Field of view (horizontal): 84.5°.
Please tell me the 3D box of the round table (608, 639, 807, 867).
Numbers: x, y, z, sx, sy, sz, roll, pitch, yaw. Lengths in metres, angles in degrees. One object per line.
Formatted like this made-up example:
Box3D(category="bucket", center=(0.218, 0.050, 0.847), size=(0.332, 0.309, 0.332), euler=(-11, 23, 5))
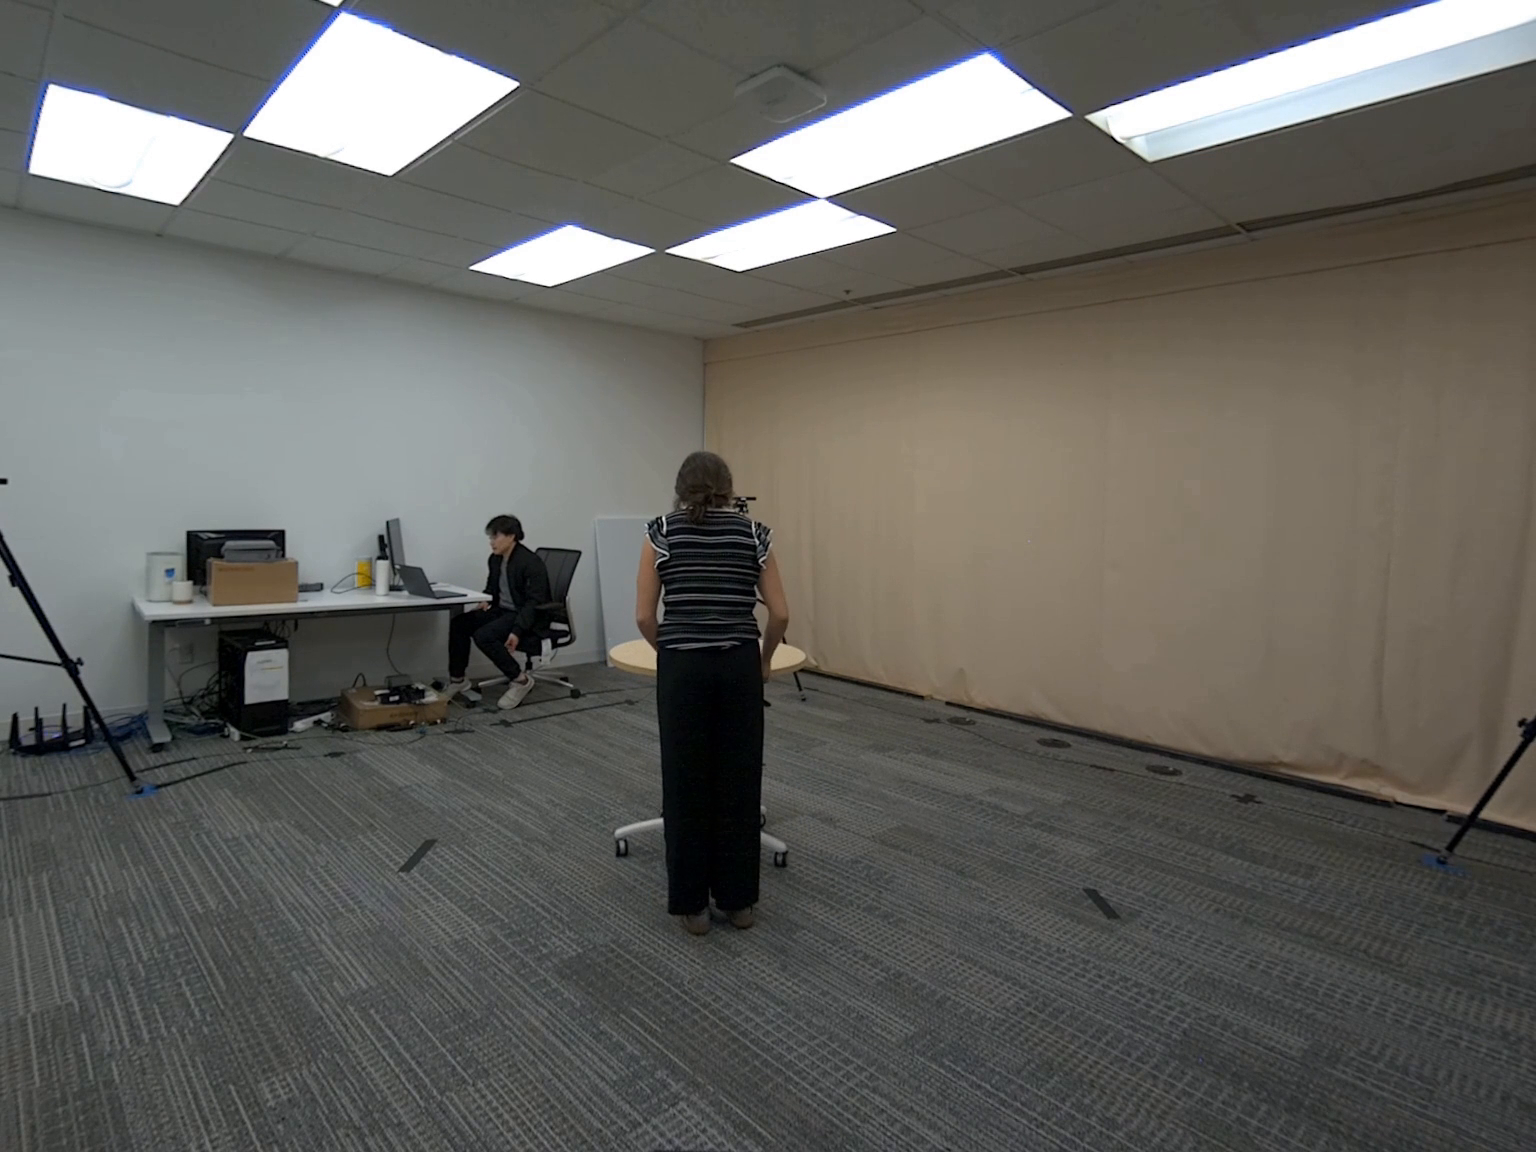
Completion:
Box3D(category="round table", center=(-0.265, 0.694, 3.320), size=(0.784, 0.784, 0.788), euler=(2, 4, -1))
